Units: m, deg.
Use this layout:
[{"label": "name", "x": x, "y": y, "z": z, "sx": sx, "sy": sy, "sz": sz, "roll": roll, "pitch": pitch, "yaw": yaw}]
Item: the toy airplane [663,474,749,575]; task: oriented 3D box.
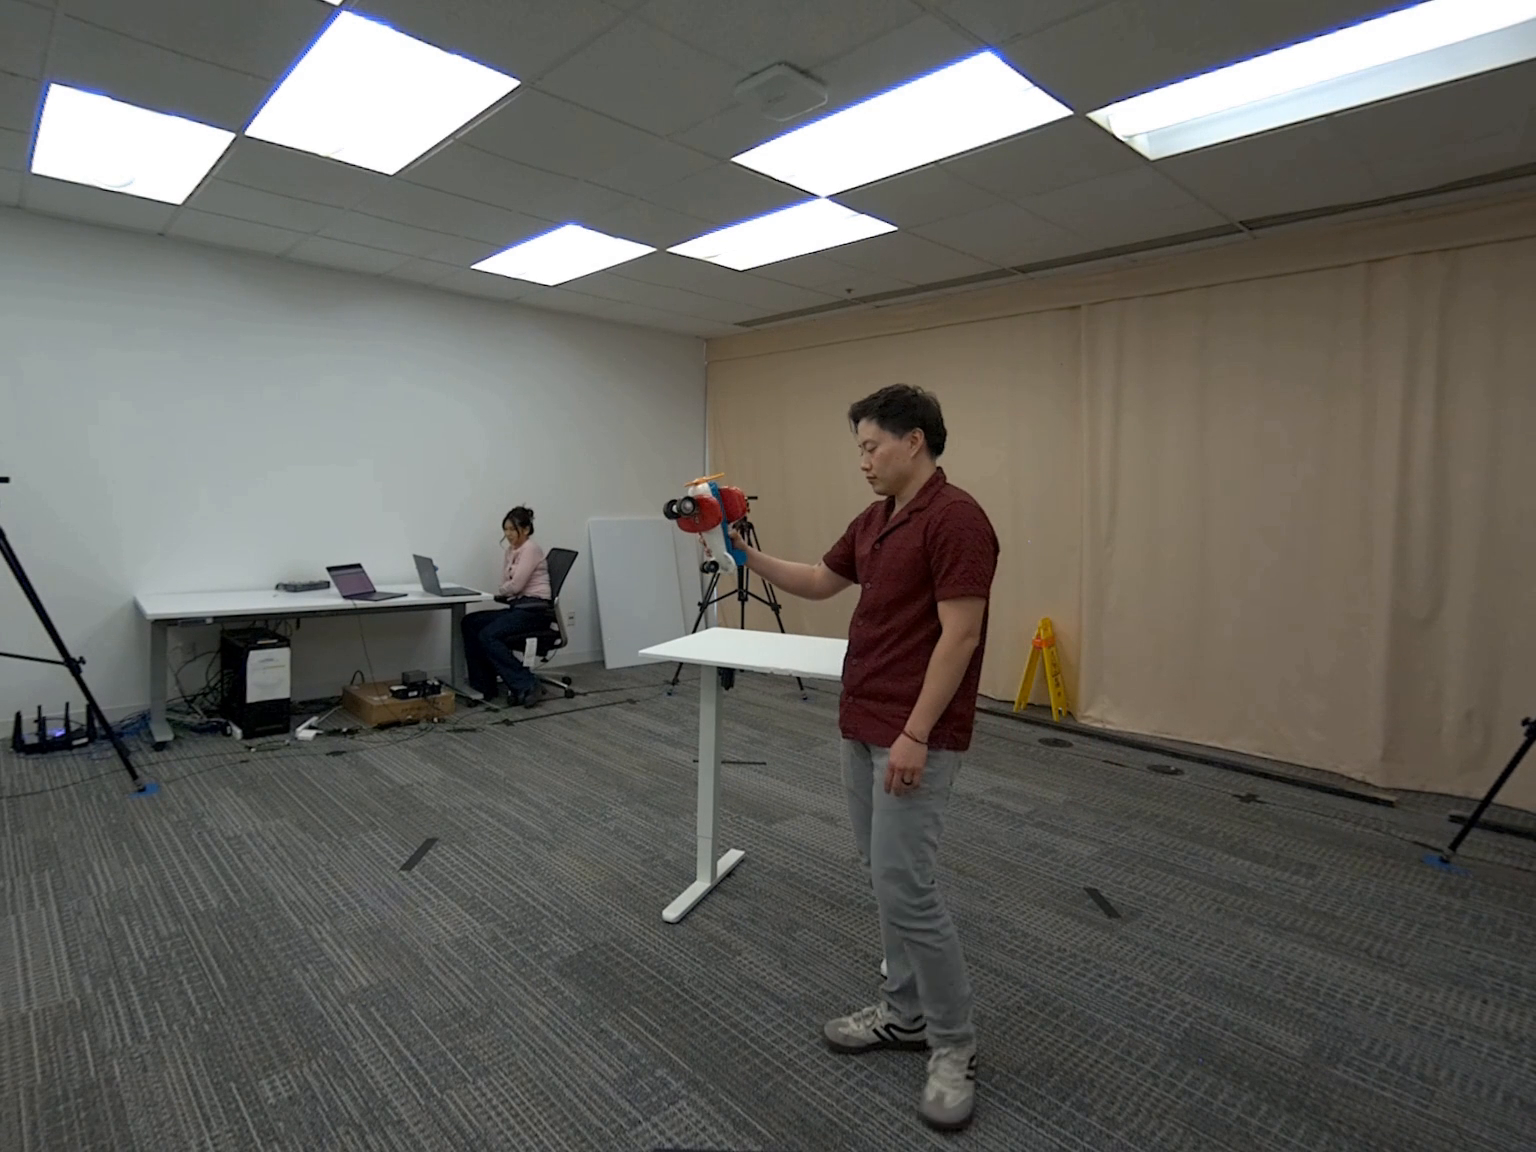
[{"label": "toy airplane", "x": -0.166, "y": -0.134, "z": 2.256, "sx": 0.155, "sy": 0.253, "sz": 0.259, "roll": -33, "pitch": 40, "yaw": -27}]
